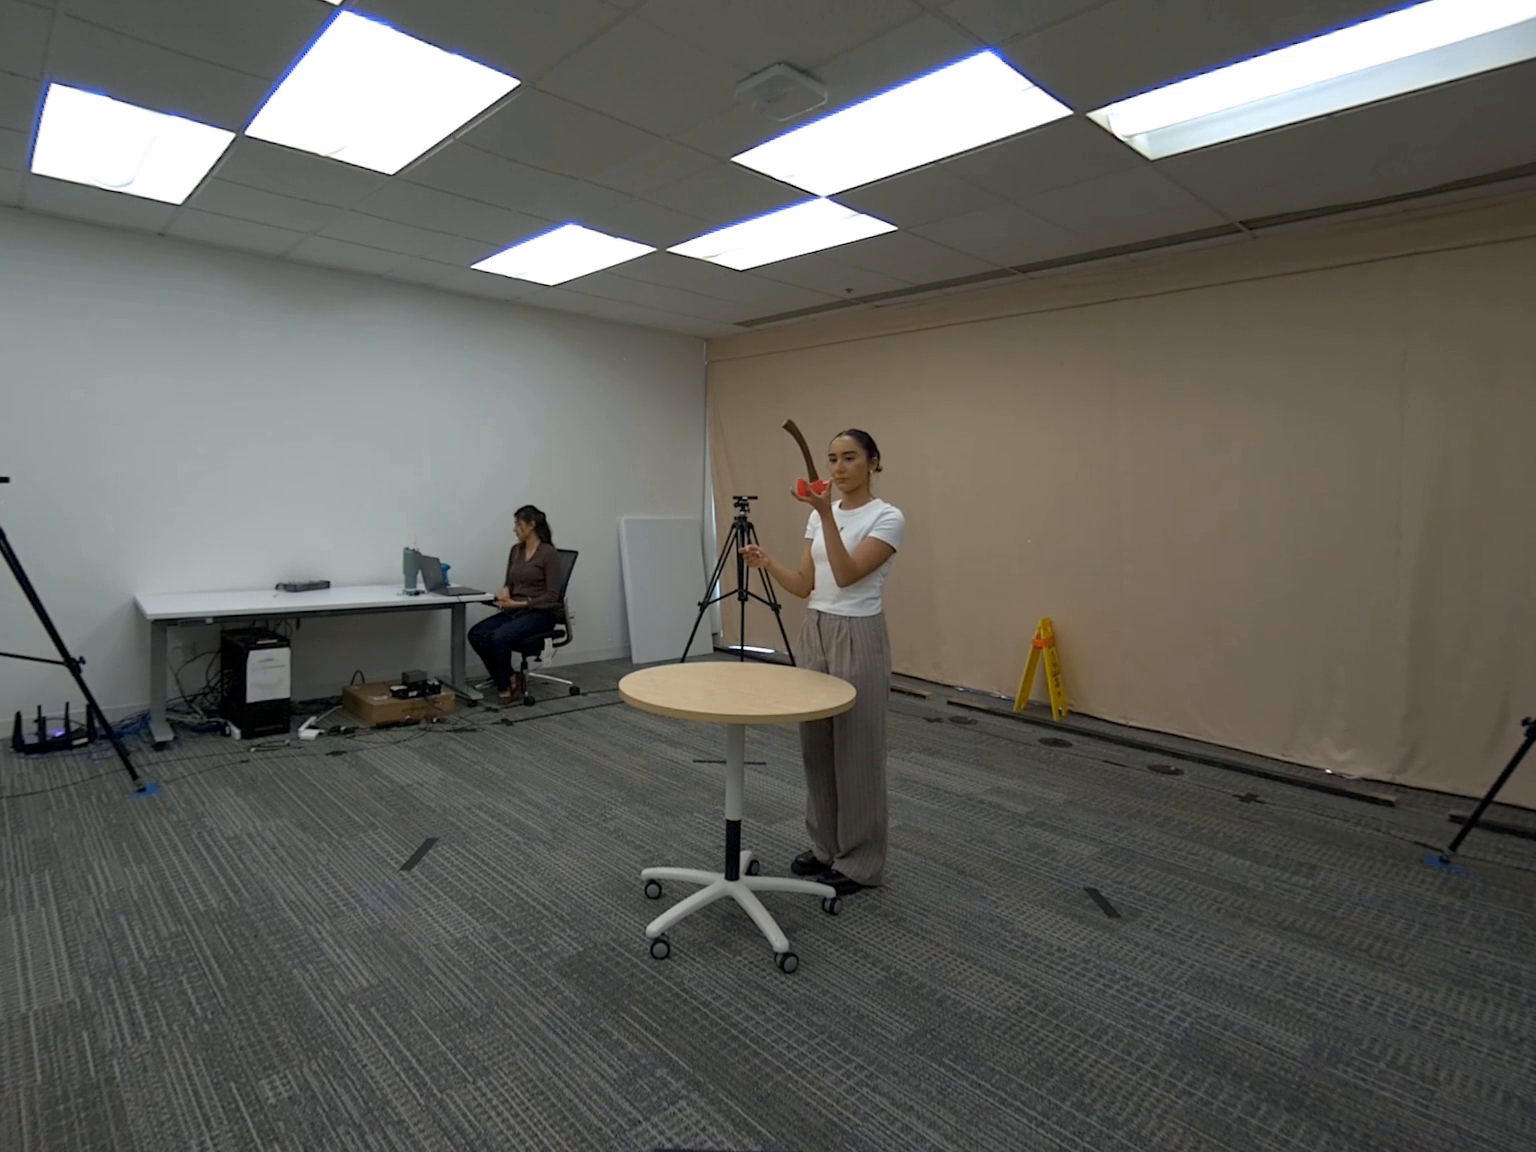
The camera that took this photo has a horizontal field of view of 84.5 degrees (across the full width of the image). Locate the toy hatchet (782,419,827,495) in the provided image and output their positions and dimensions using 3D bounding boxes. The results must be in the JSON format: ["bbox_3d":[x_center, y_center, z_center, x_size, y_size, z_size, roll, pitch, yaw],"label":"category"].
[{"bbox_3d":[0.091,-0.367,2.735,0.131,0.265,0.030,-39,19,-10],"label":"toy hatchet"}]
